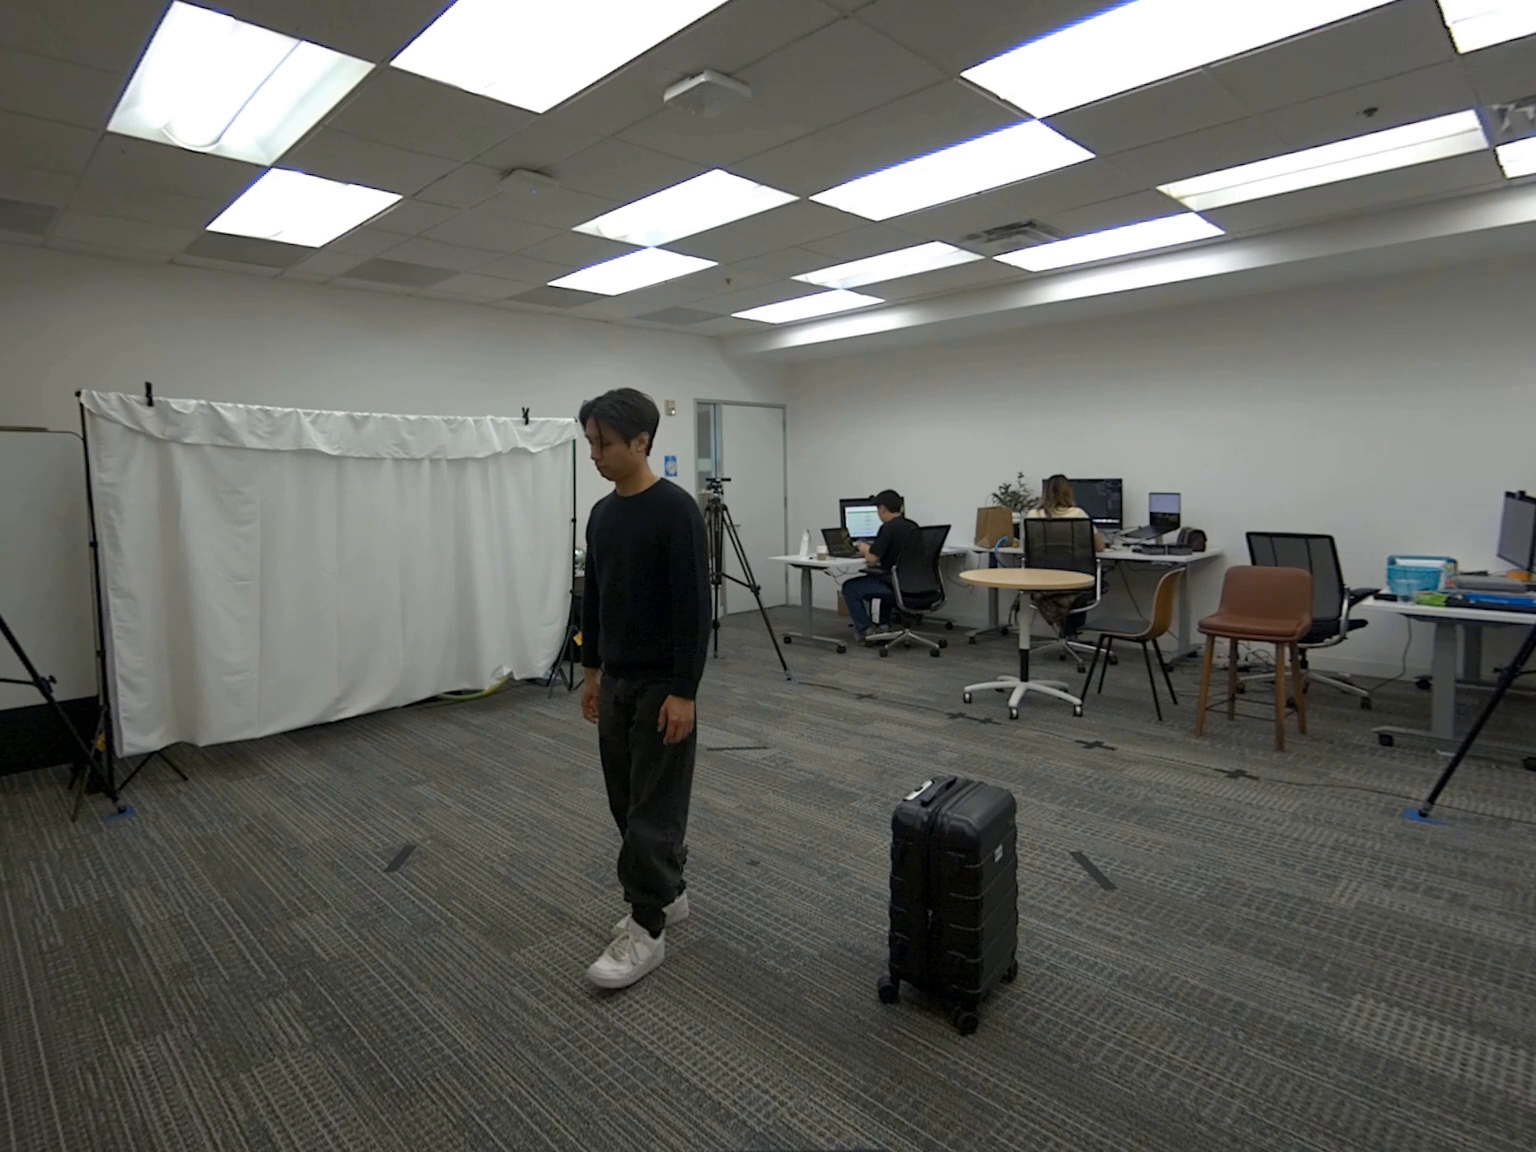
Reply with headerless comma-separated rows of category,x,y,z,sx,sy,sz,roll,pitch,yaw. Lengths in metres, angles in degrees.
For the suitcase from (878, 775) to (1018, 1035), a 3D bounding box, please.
suitcase,0.505,0.842,2.322,0.255,0.547,0.366,3,5,36
